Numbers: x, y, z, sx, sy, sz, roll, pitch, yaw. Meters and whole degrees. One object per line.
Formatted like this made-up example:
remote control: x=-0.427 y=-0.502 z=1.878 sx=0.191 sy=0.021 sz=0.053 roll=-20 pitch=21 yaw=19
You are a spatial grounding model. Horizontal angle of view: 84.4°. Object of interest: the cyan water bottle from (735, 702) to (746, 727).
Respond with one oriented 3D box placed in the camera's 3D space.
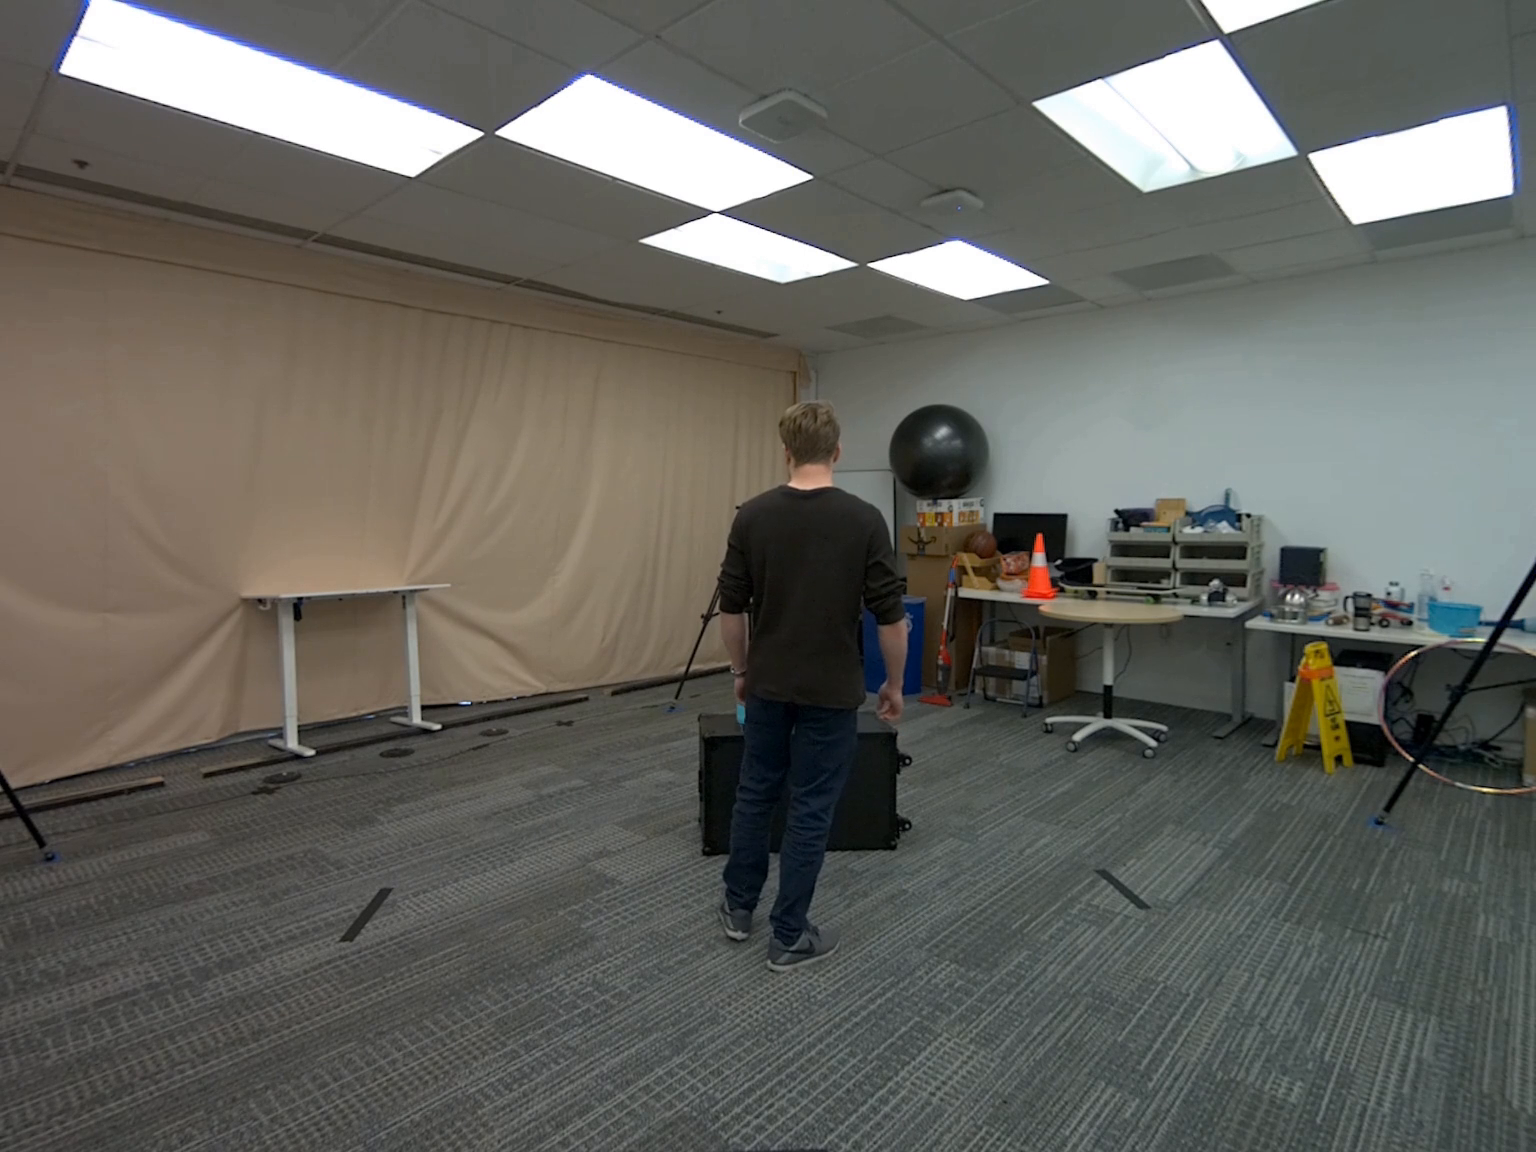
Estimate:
cyan water bottle: x=-0.080 y=0.473 z=3.554 sx=0.092 sy=0.283 sz=0.092 roll=1 pitch=3 yaw=-2
